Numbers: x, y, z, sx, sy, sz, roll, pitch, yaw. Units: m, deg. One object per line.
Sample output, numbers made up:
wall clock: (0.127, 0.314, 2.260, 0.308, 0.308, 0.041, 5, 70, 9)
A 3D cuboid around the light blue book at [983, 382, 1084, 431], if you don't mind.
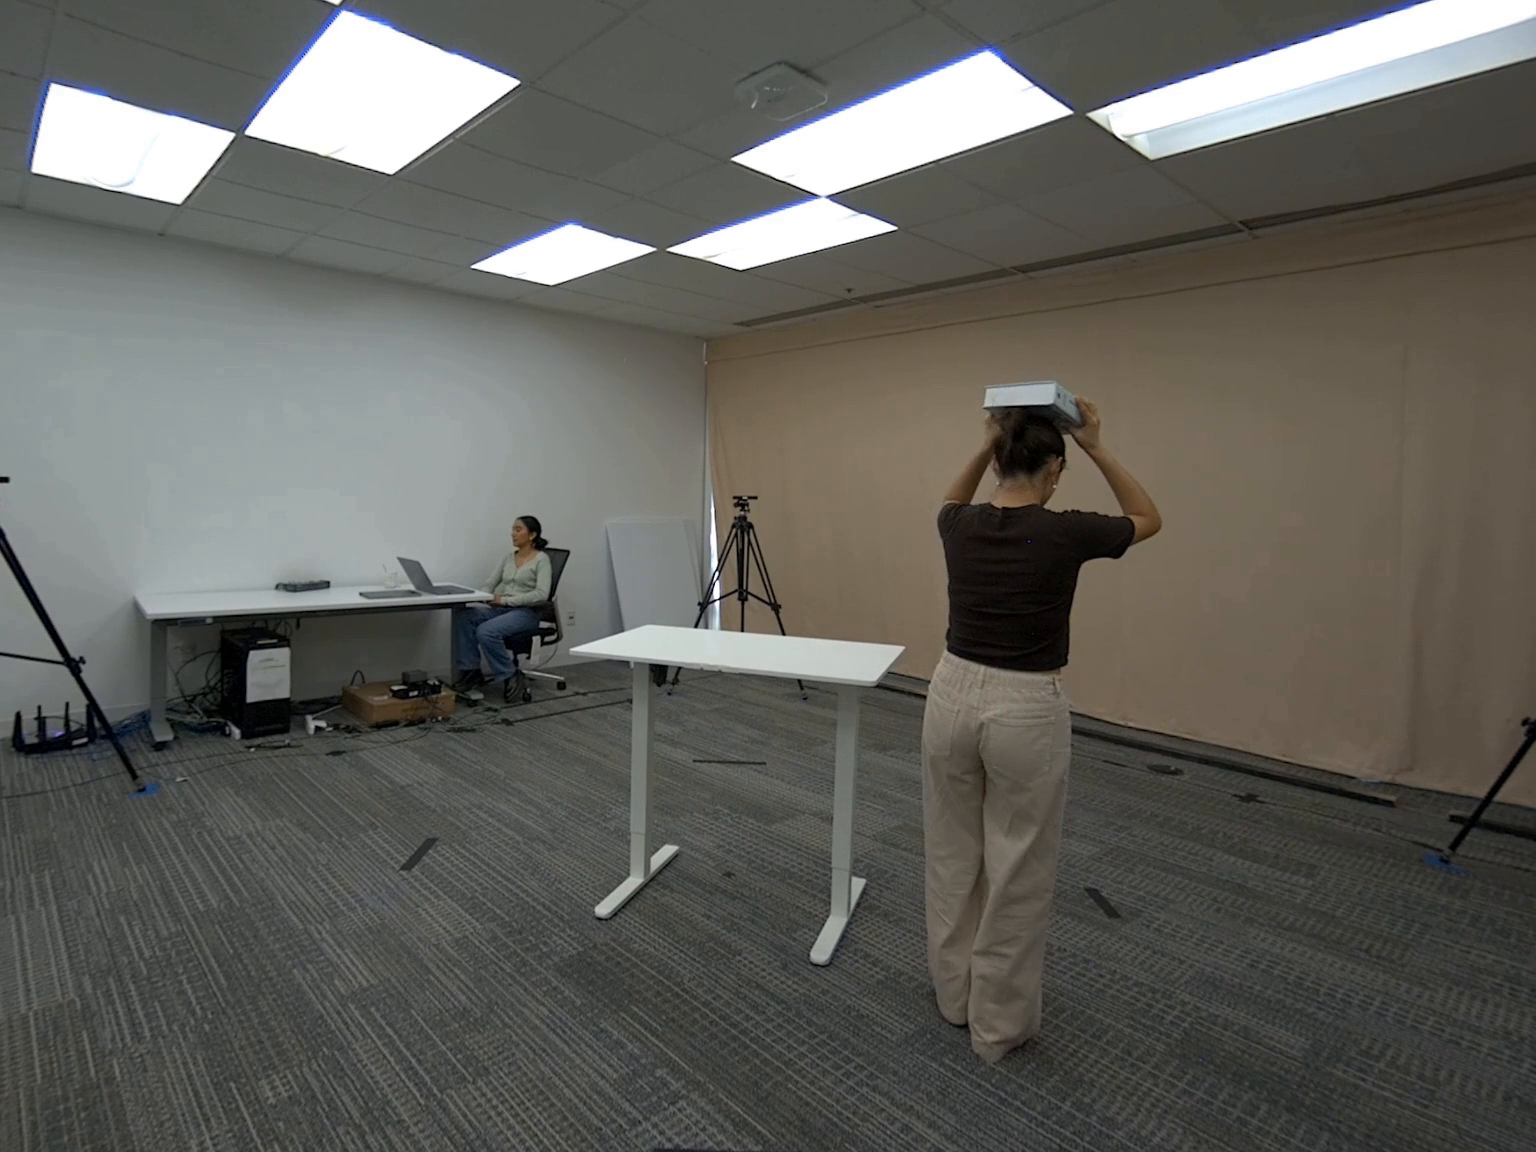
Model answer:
light blue book: (0.684, -0.422, 2.148, 0.196, 0.059, 0.253, 7, -5, 43)
